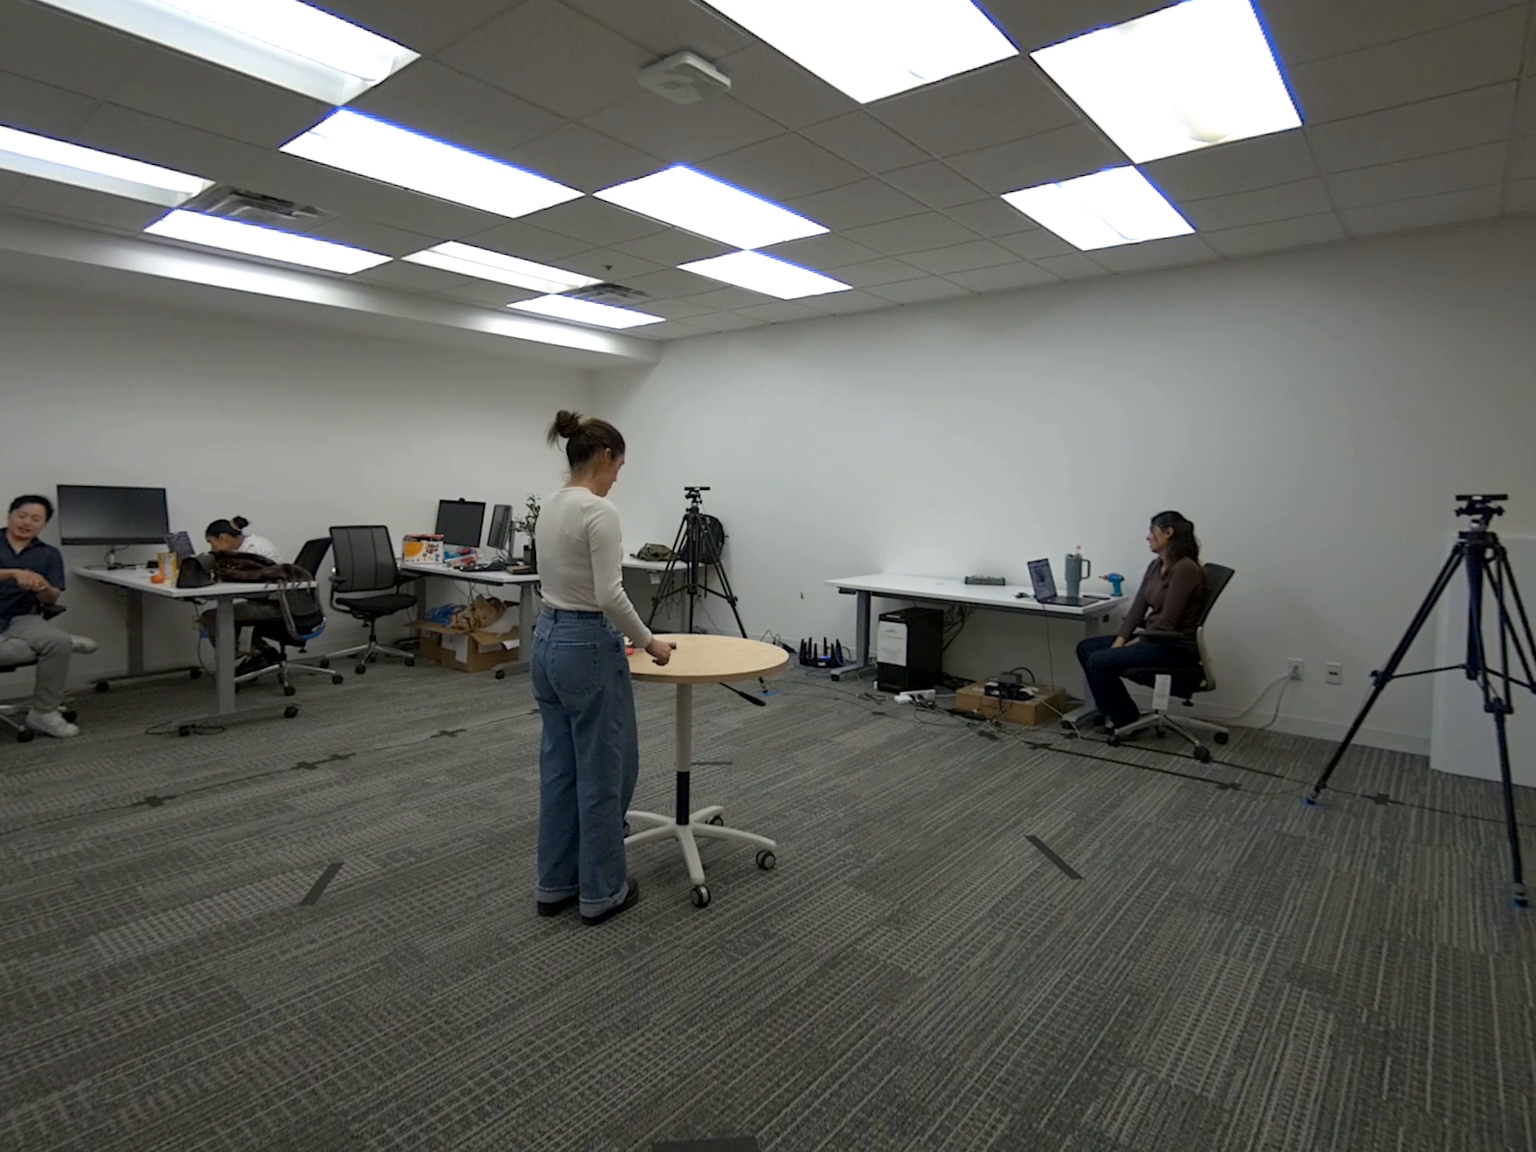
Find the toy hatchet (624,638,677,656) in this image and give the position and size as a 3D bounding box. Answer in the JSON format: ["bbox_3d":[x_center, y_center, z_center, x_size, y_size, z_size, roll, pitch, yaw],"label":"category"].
[{"bbox_3d":[-0.455,0.265,3.121,0.267,0.029,0.133,1,7,-12],"label":"toy hatchet"}]
